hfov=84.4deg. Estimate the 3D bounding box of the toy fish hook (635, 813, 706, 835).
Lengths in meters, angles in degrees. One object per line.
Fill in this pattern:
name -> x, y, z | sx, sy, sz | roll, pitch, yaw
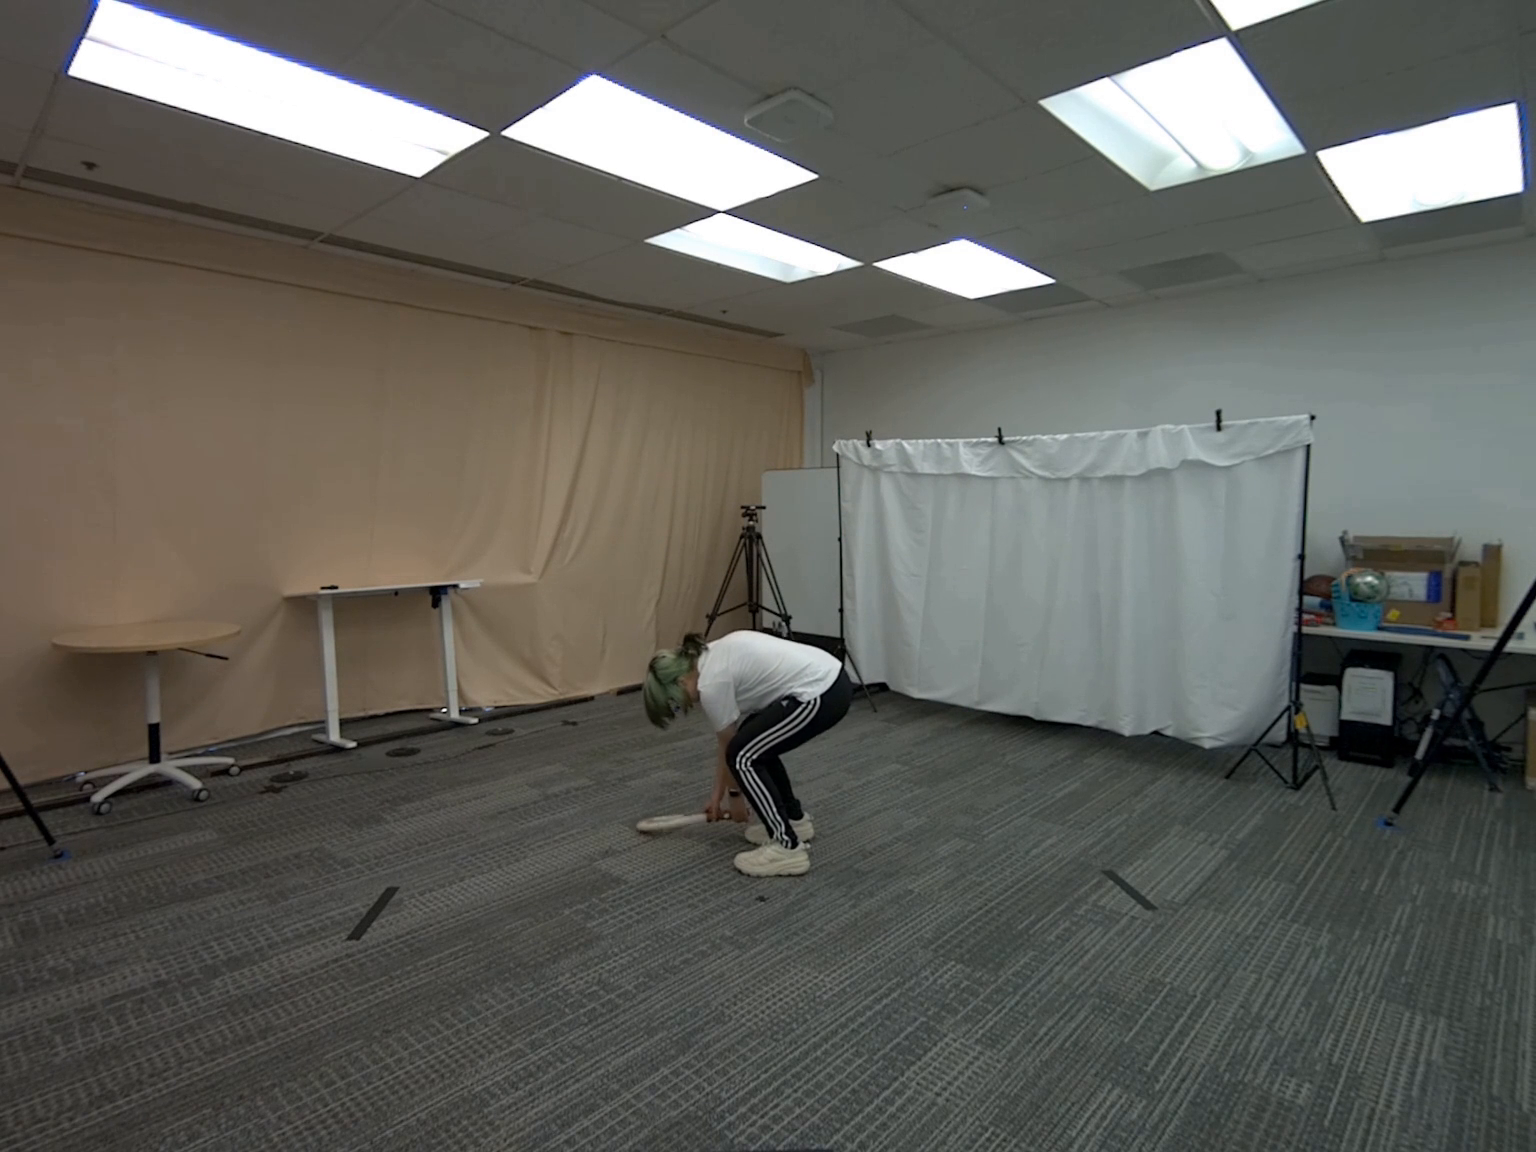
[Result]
toy fish hook -> -0.320, 1.045, 3.635 | 0.507, 0.048, 0.224 | -5, -2, 0
